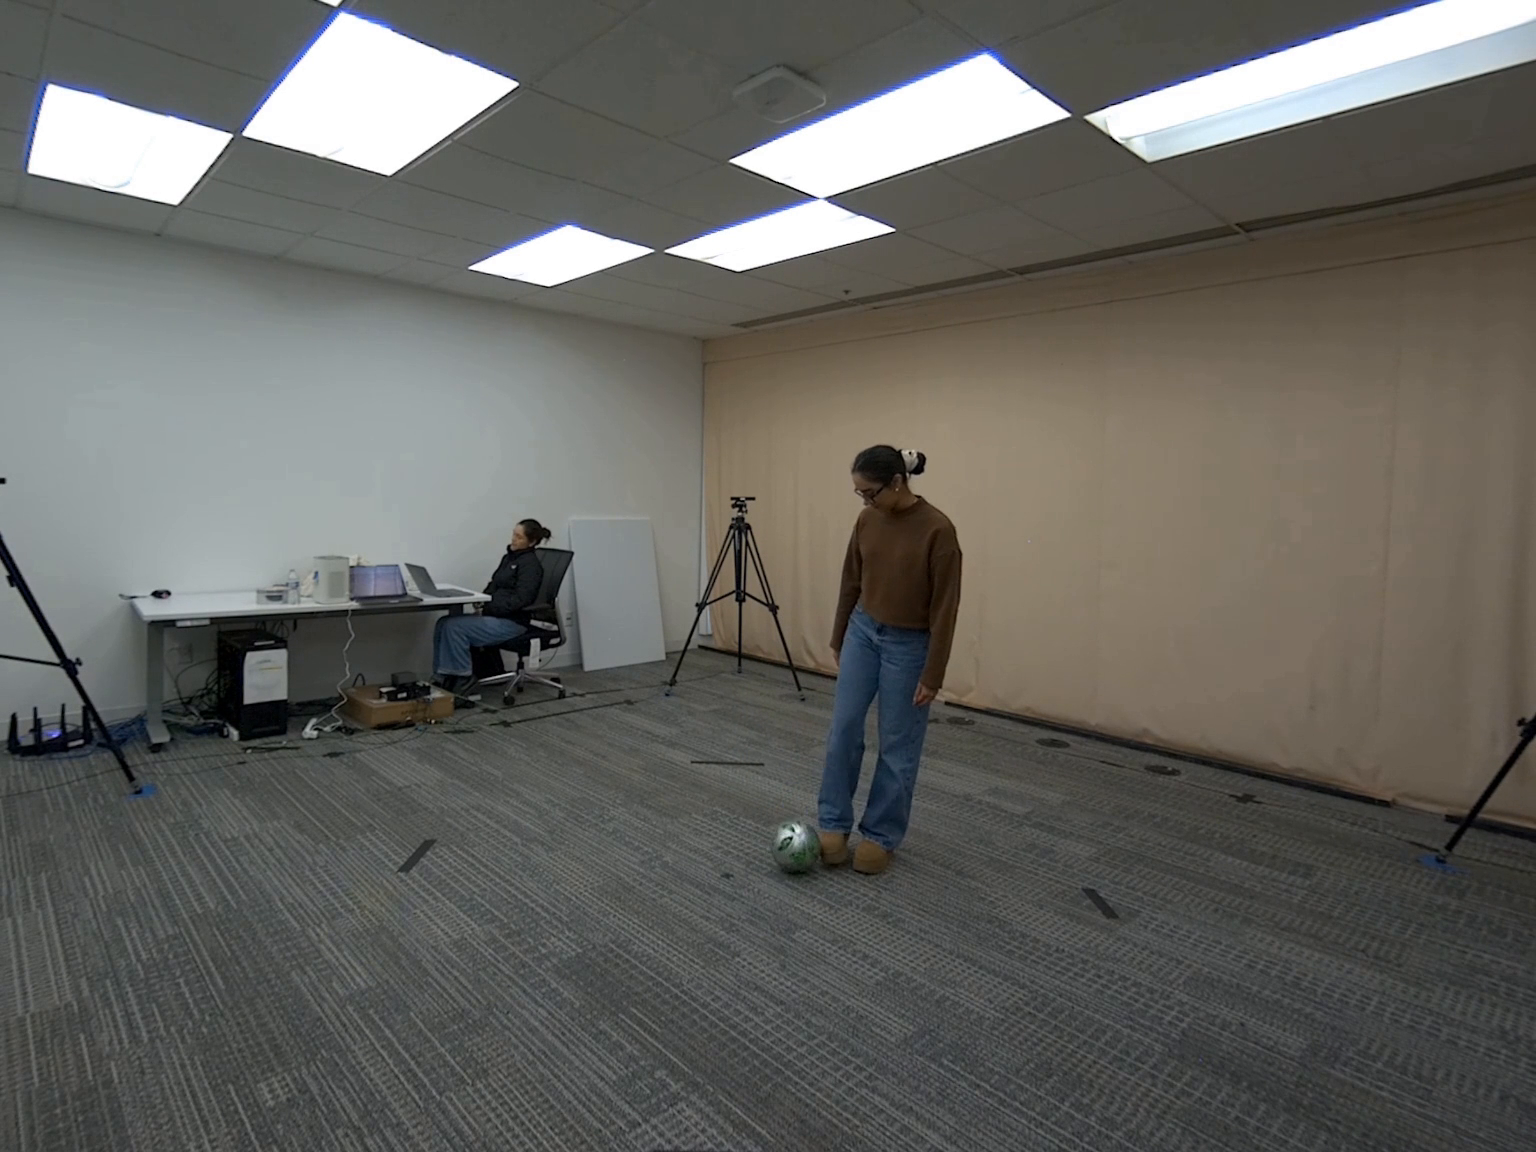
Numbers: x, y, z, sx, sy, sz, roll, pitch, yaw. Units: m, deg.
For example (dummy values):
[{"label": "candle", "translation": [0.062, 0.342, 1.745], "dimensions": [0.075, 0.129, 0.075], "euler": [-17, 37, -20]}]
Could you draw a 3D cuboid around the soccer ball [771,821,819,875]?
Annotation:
[{"label": "soccer ball", "translation": [0.078, 1.013, 3.150], "dimensions": [0.187, 0.187, 0.188], "euler": [1, 4, -1]}]
